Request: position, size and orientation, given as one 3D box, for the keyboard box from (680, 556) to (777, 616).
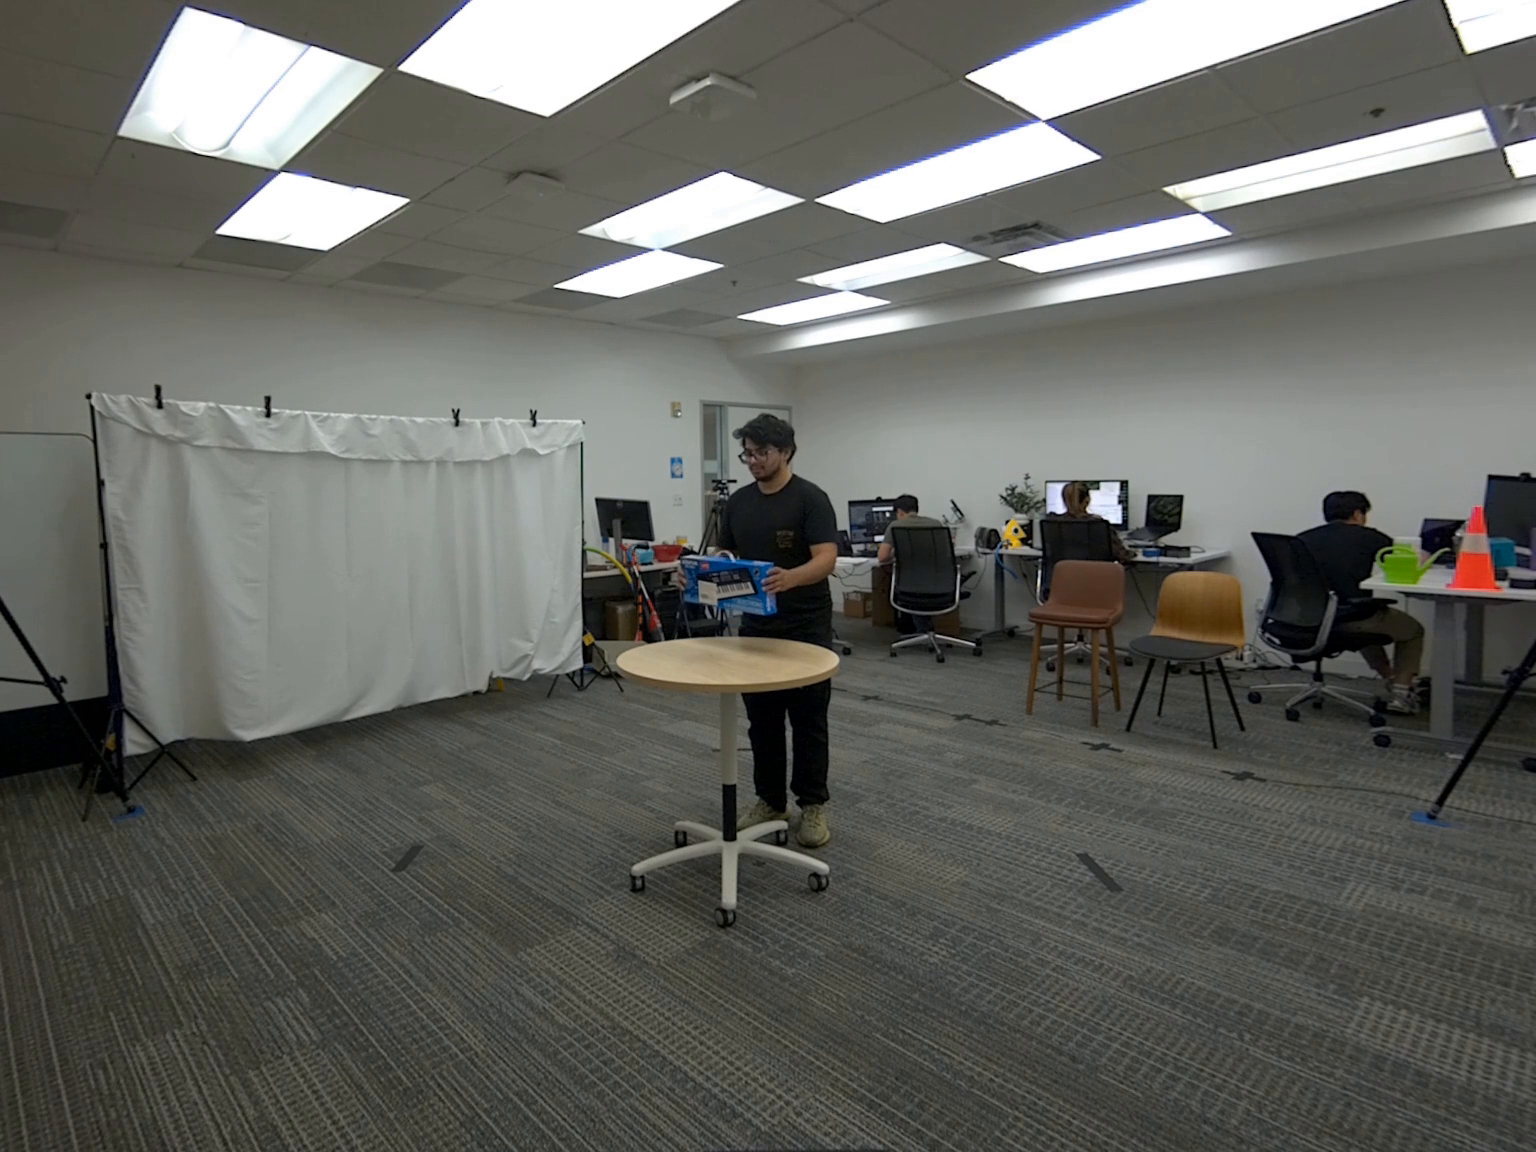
[{"bbox_3d":[-0.153,0.031,3.057,0.058,0.174,0.451,-10,11,-41],"label":"keyboard box"}]
